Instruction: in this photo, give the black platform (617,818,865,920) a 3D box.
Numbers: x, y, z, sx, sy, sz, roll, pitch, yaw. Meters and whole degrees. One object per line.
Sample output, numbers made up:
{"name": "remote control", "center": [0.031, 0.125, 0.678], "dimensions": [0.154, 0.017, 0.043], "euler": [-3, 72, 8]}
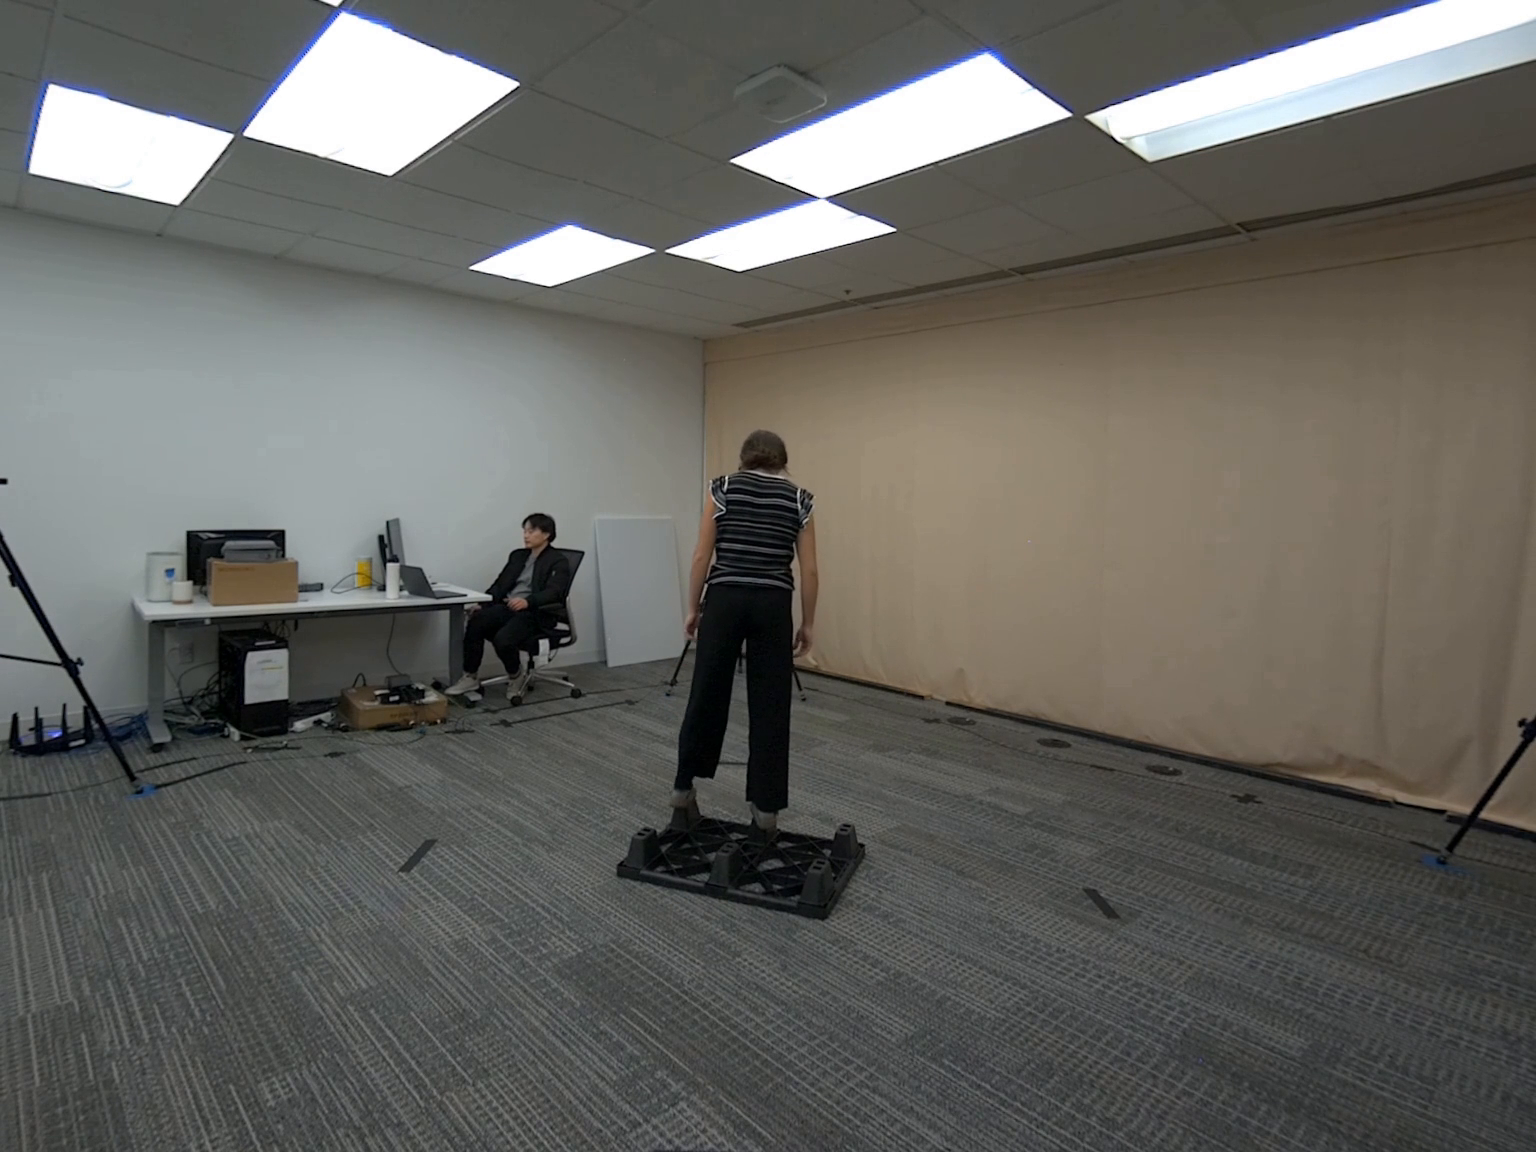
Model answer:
{"name": "black platform", "center": [-0.096, 1.034, 3.199], "dimensions": [0.819, 0.143, 0.596], "euler": [3, 4, 21]}
